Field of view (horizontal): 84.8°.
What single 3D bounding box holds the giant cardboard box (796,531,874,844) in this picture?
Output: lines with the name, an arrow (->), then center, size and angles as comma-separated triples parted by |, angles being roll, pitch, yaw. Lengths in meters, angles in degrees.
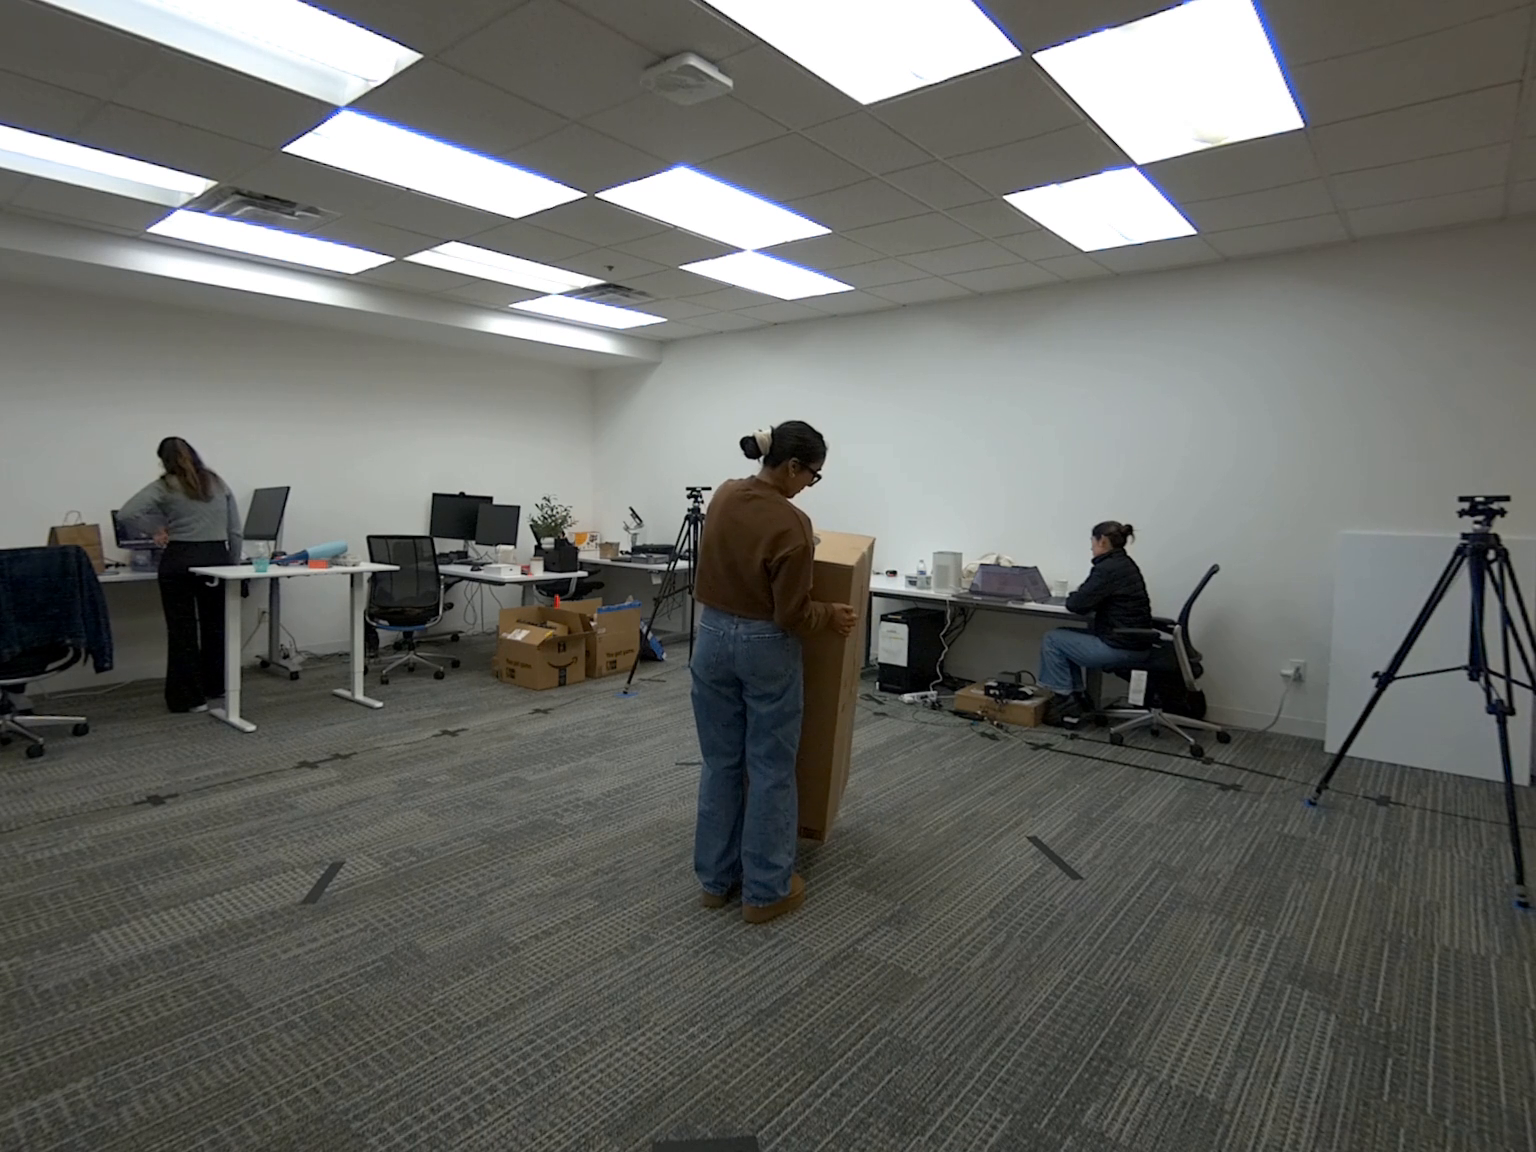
giant cardboard box -> 0.103, 0.372, 3.236 | 0.434, 1.015, 0.573 | 8, 12, 14
